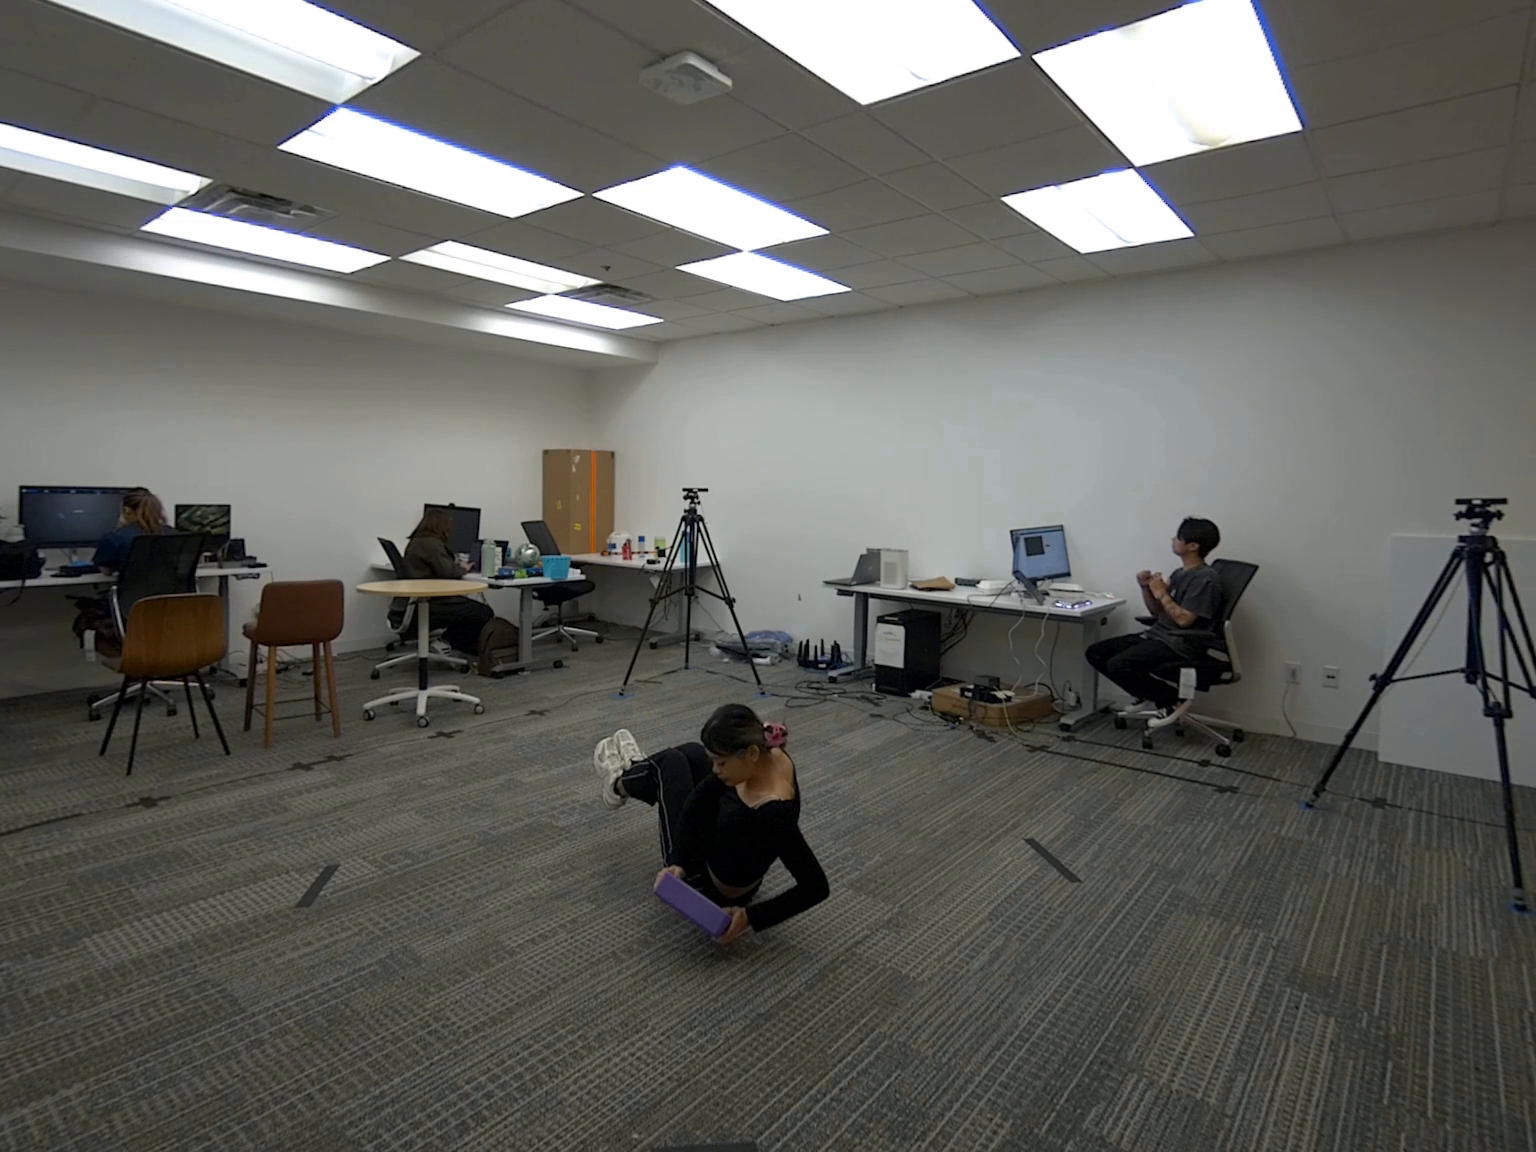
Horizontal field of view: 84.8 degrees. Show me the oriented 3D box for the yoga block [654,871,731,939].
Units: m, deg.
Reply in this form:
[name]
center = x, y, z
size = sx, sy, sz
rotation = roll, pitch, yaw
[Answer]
[yoga block]
center = -0.204, 0.992, 2.542
size = 0.236, 0.077, 0.144
rotation = 26, -19, 20
